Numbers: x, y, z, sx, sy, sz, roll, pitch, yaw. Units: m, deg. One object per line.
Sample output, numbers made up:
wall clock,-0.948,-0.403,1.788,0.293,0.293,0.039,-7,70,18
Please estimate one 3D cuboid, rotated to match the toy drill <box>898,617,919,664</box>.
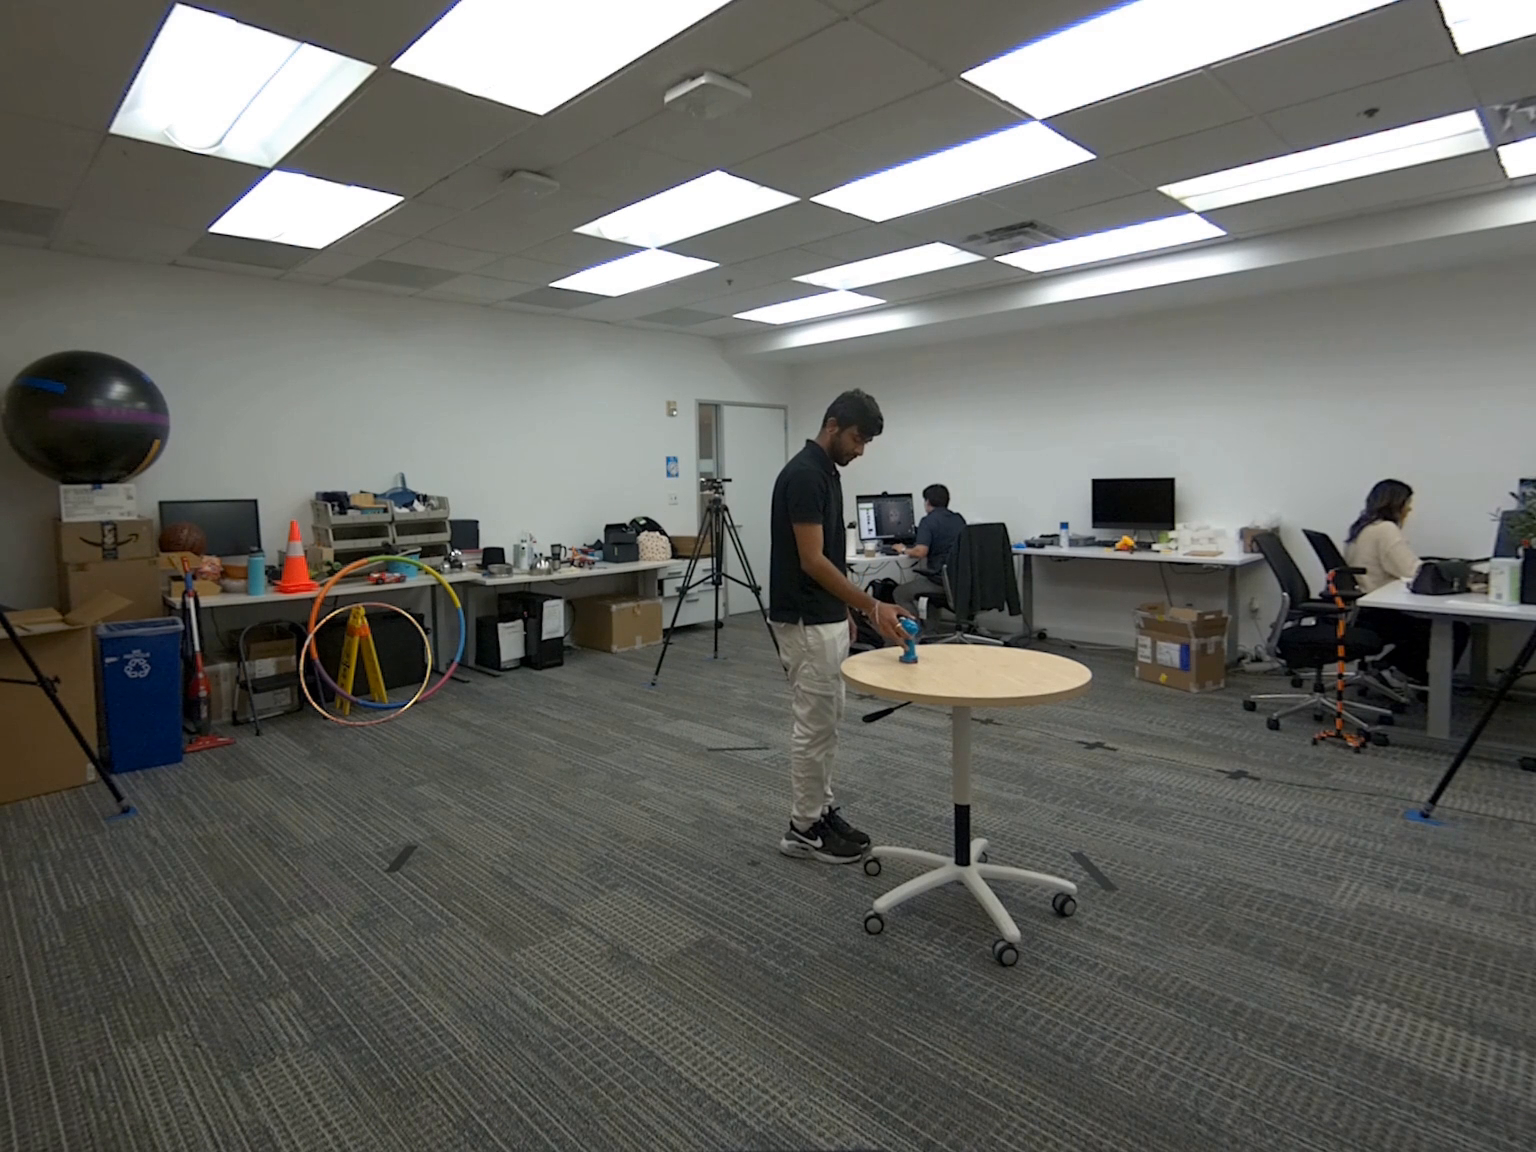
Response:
toy drill,0.452,0.207,2.868,0.060,0.145,0.172,-4,5,-15
